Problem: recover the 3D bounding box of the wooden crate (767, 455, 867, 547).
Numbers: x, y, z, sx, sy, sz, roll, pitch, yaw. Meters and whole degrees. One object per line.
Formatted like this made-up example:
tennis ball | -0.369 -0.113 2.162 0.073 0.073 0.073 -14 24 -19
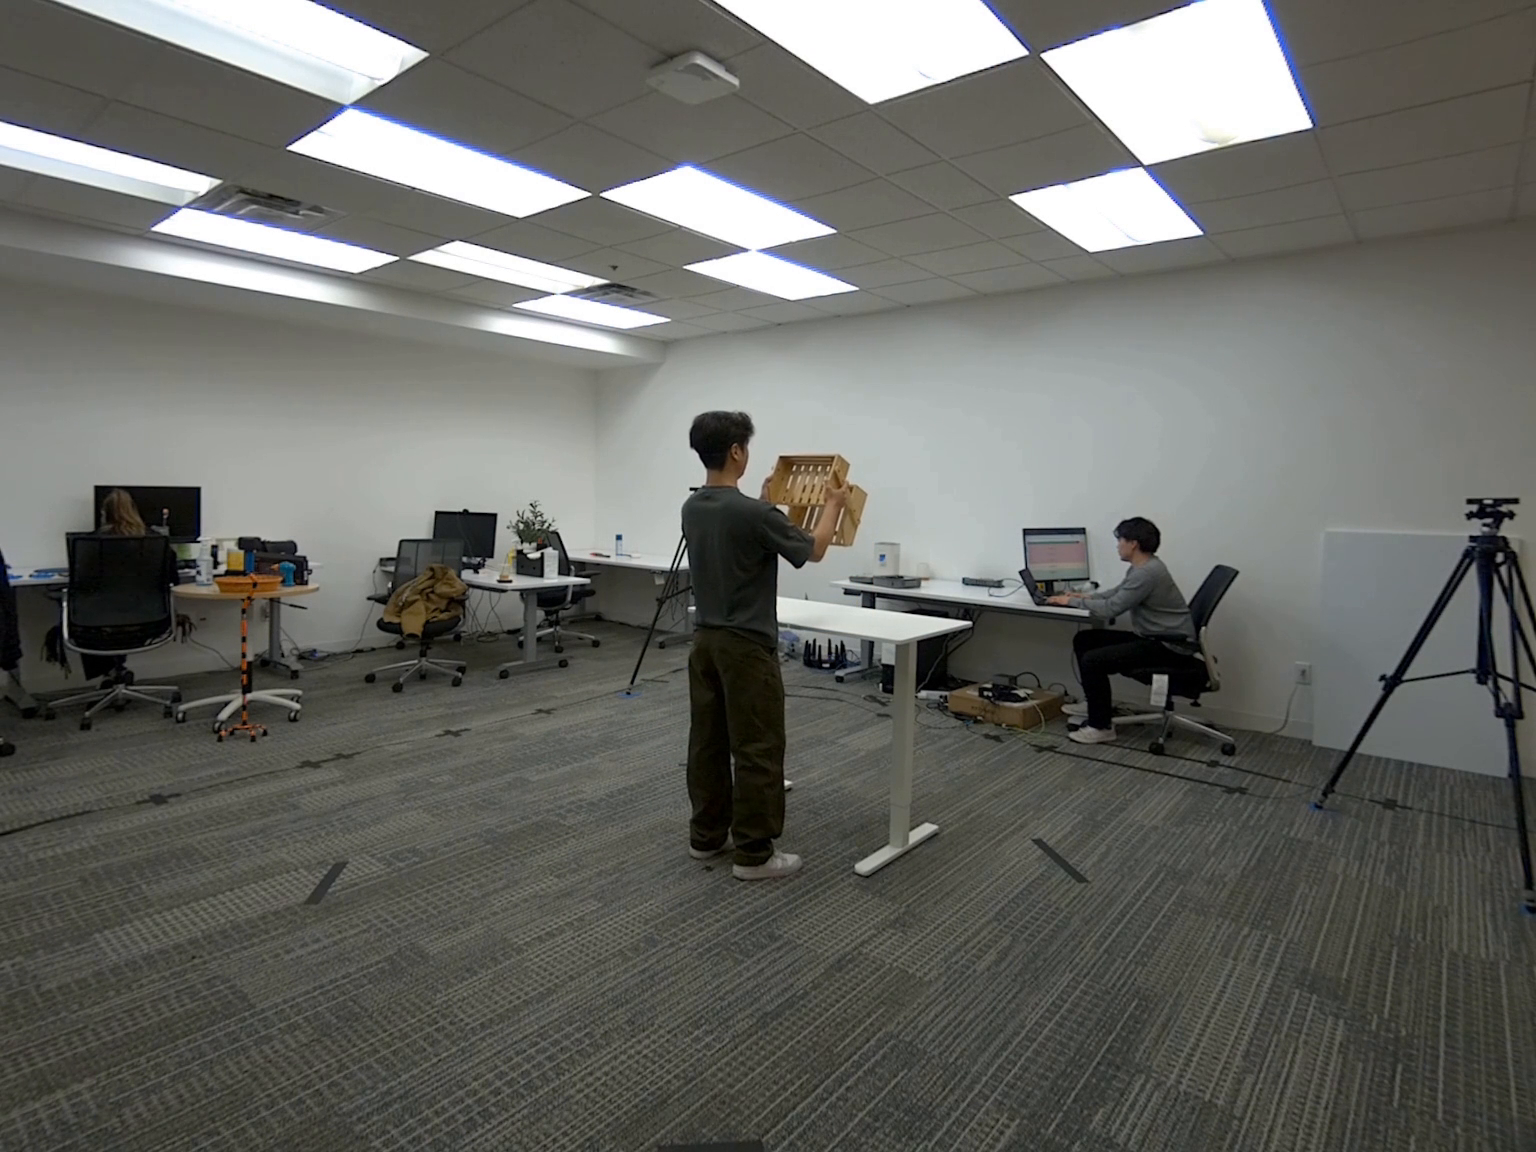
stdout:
wooden crate | 0.174 -0.306 3.442 0.336 0.304 0.262 6 -19 41
